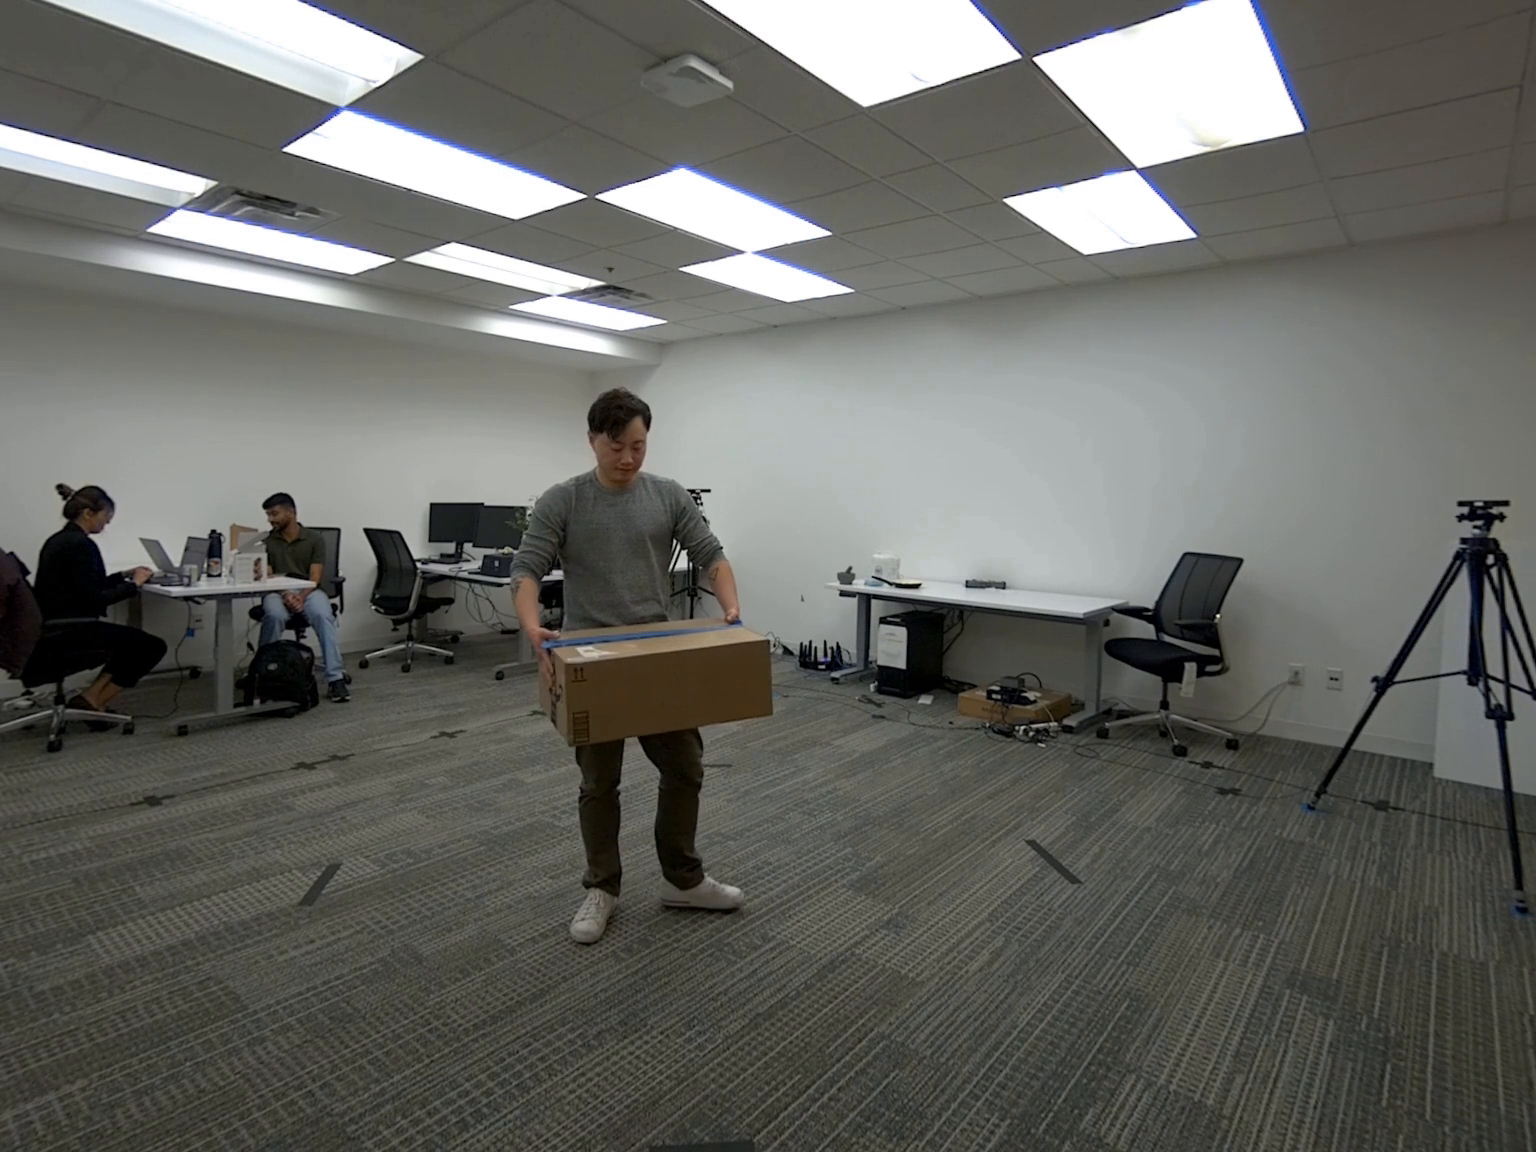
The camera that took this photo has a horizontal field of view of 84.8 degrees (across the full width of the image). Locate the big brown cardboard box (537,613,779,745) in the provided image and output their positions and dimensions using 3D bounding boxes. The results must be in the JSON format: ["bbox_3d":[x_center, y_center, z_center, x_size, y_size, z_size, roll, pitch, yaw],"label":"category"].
[{"bbox_3d":[-0.329,0.270,2.393,0.577,0.232,0.428,-3,6,-21],"label":"big brown cardboard box"}]
